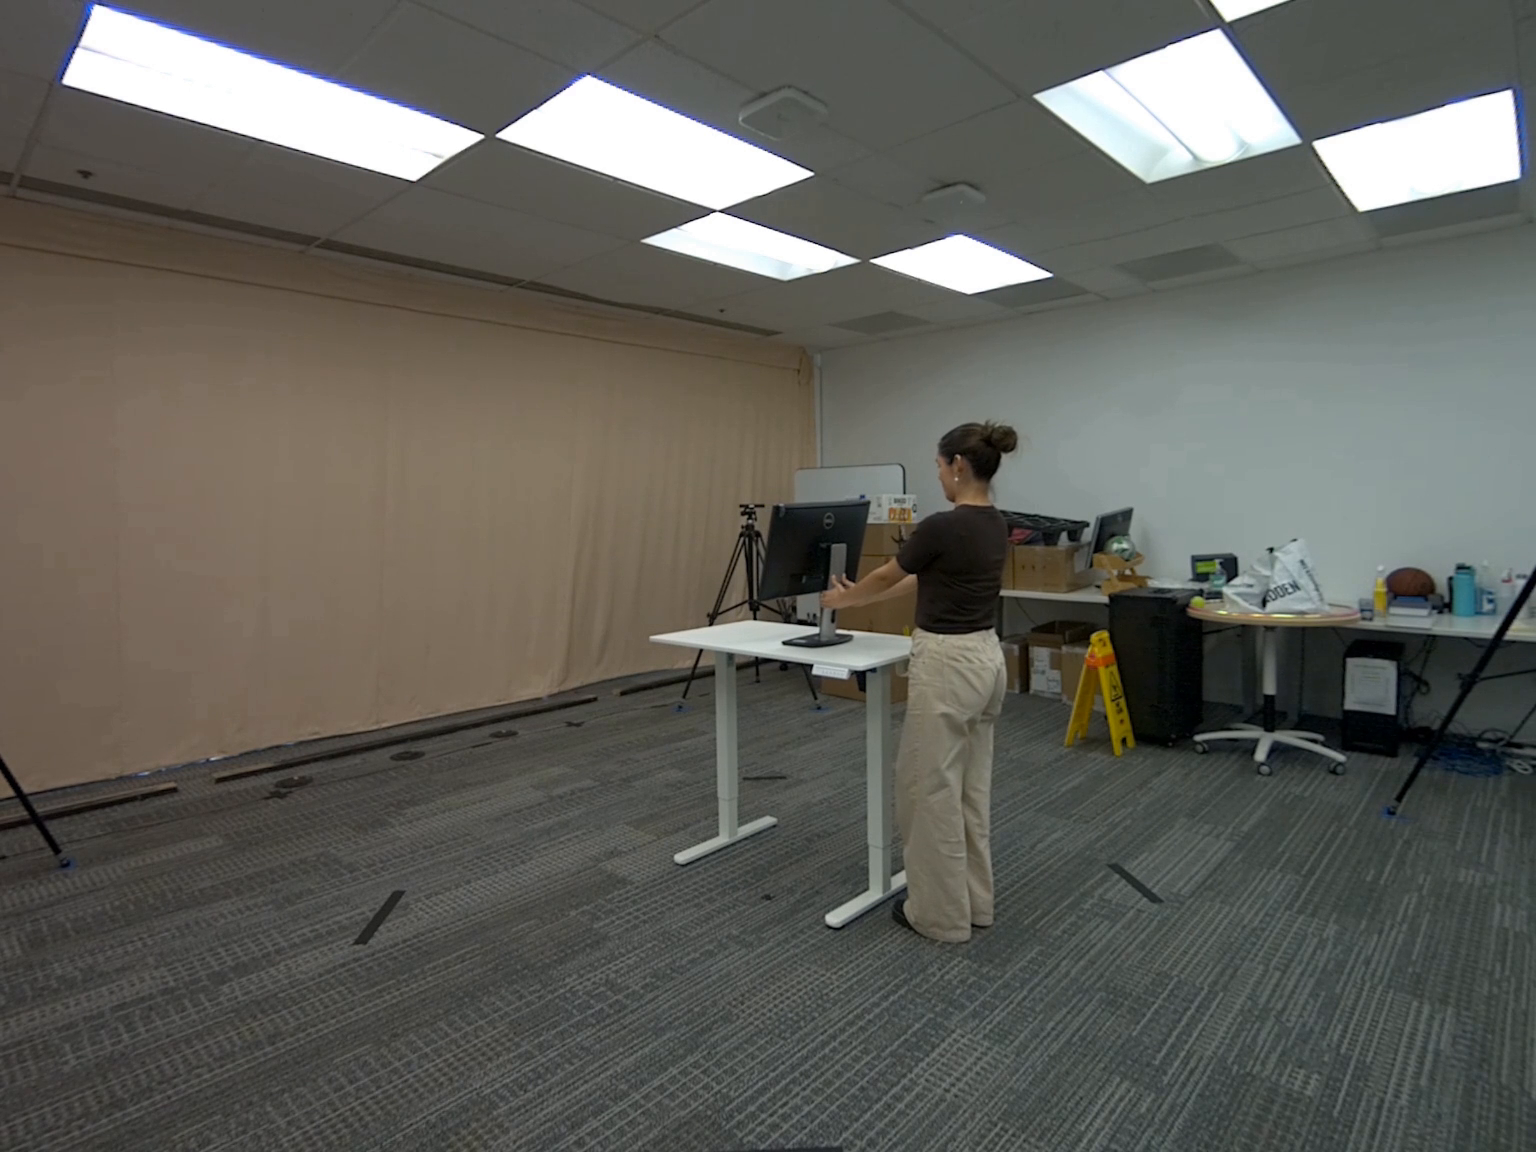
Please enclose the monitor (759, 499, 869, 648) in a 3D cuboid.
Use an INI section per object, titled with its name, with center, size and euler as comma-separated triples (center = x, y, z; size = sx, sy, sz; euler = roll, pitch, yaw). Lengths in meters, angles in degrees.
[monitor]
center = 0.200, -0.009, 3.085
size = 0.193, 0.521, 0.523
euler = 5, 7, 44
